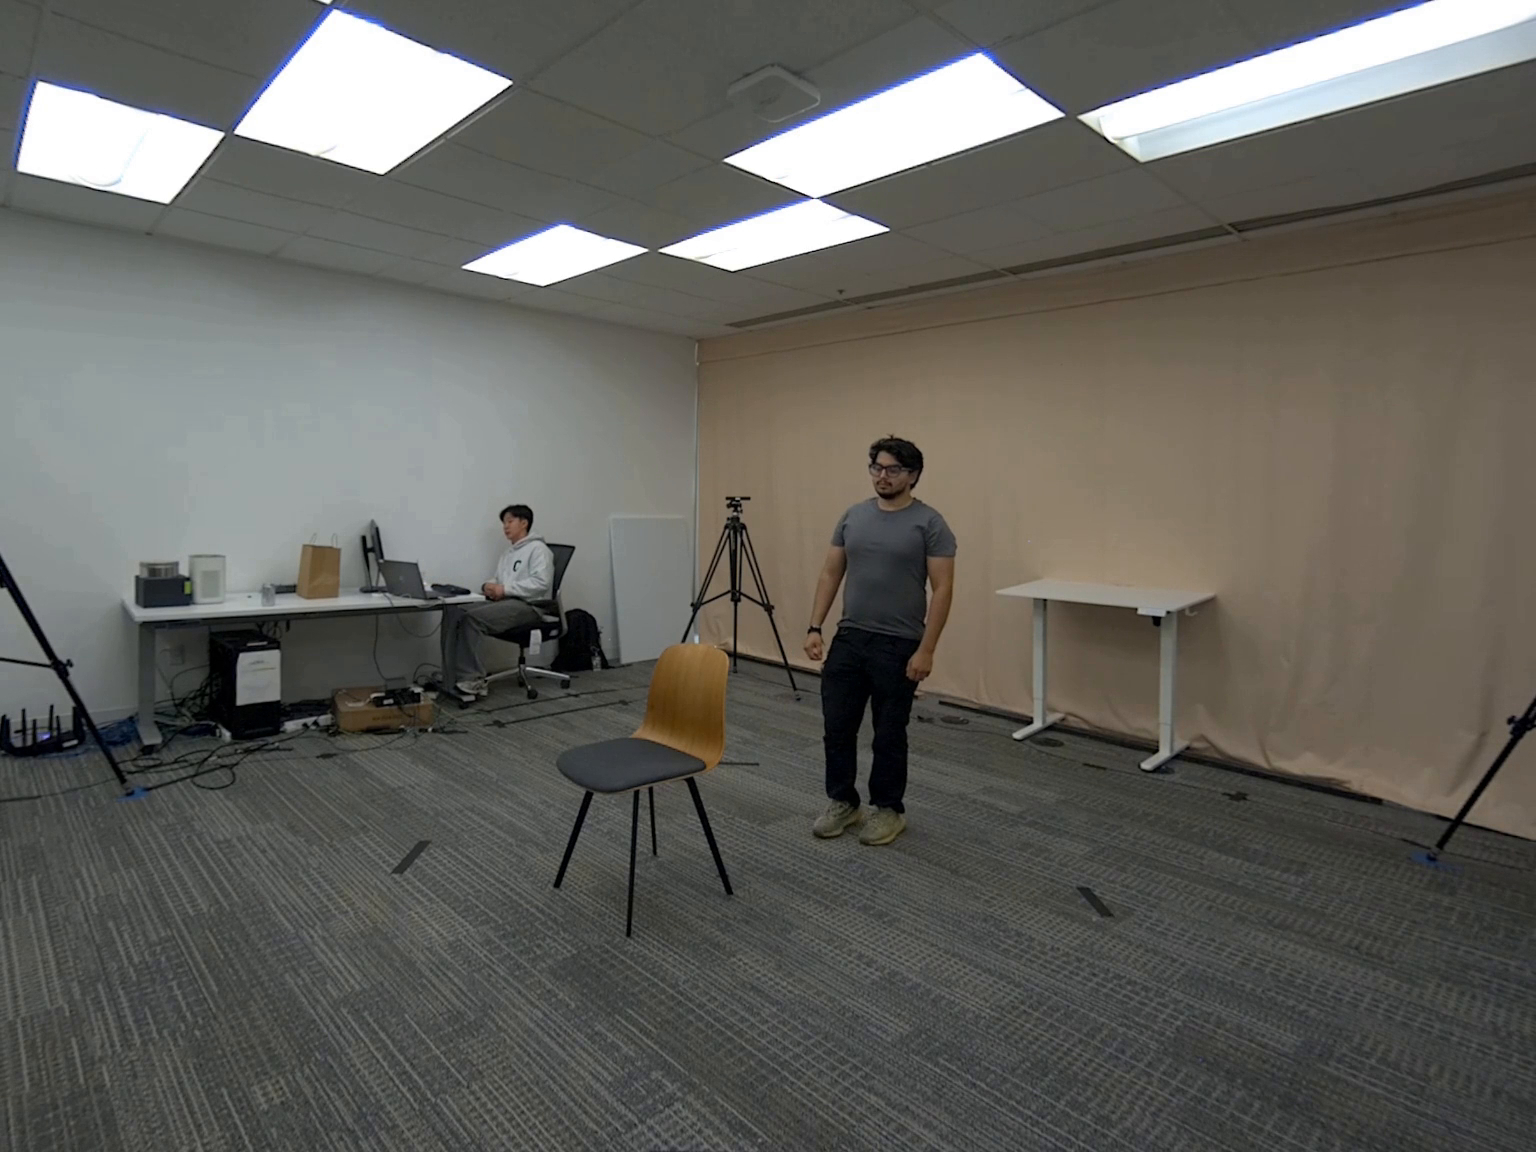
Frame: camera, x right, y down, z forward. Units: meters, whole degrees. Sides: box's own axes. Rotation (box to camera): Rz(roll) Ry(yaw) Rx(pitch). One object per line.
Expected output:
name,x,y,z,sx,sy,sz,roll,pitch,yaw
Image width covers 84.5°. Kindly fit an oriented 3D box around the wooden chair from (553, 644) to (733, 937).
wooden chair,-0.441,0.690,2.932,0.510,0.877,0.490,4,1,-44
